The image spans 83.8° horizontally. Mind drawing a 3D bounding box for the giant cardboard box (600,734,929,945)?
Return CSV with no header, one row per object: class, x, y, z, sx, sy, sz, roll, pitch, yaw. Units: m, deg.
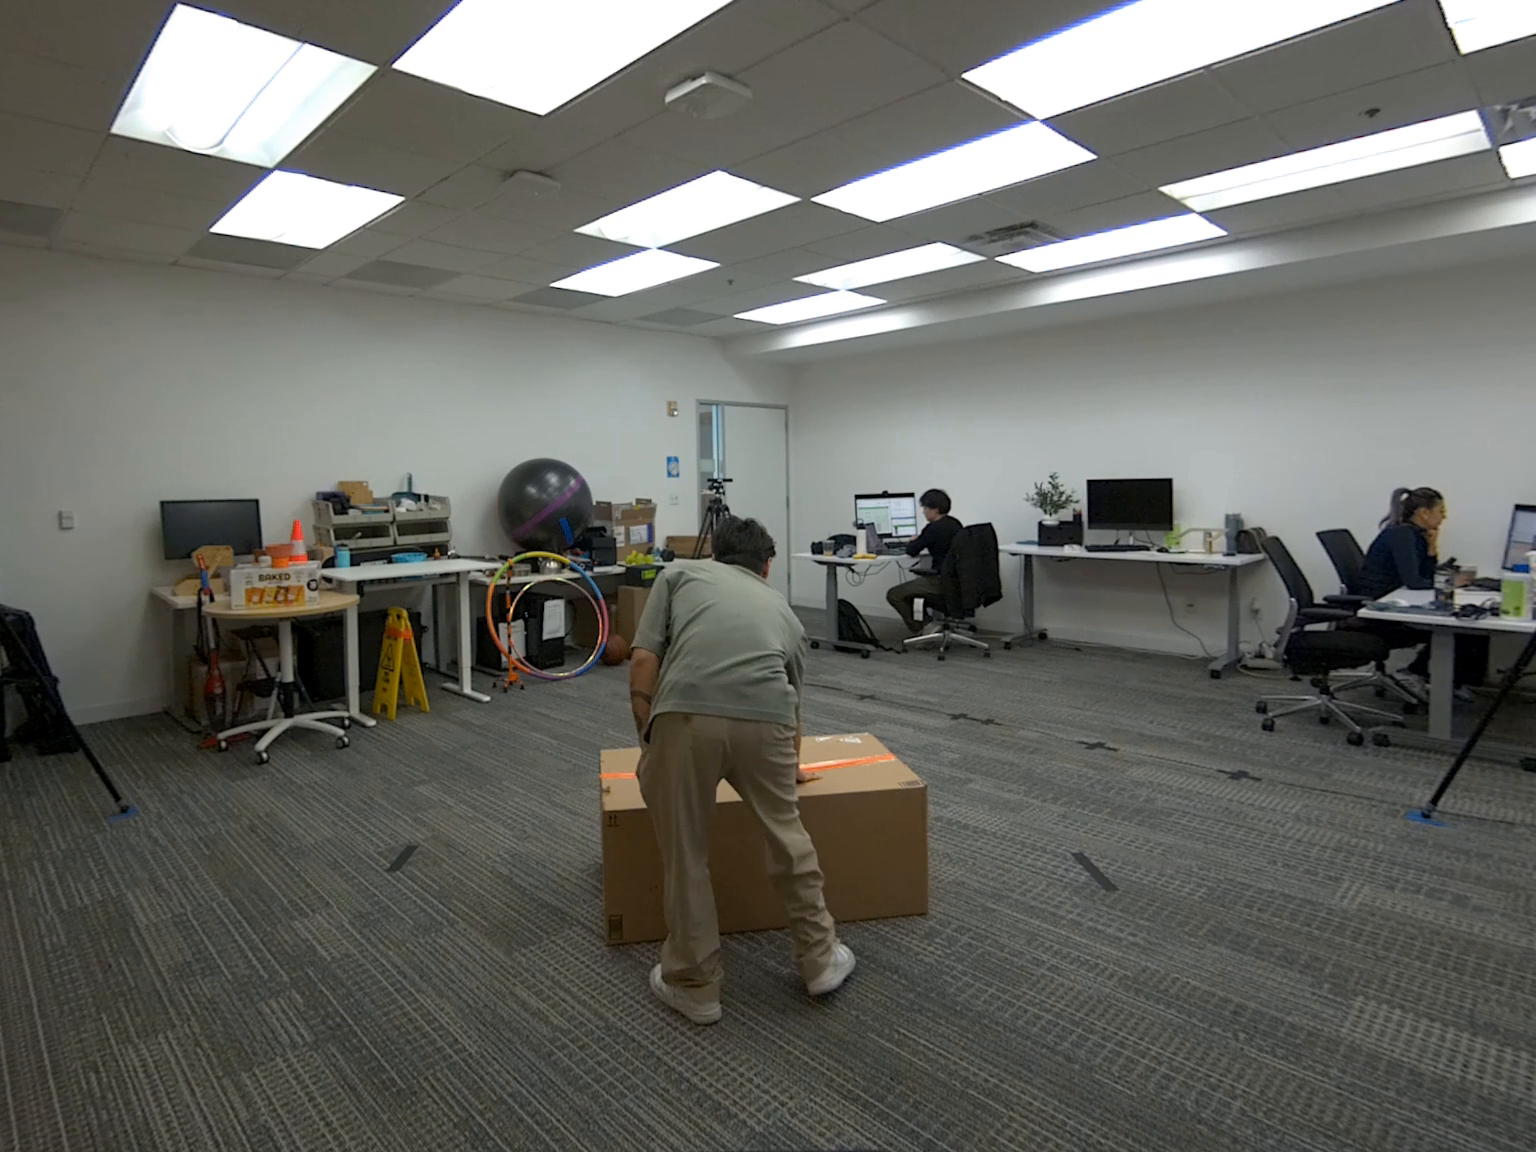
giant cardboard box,-0.049,0.853,2.912,1.017,0.424,0.585,-2,5,-9
